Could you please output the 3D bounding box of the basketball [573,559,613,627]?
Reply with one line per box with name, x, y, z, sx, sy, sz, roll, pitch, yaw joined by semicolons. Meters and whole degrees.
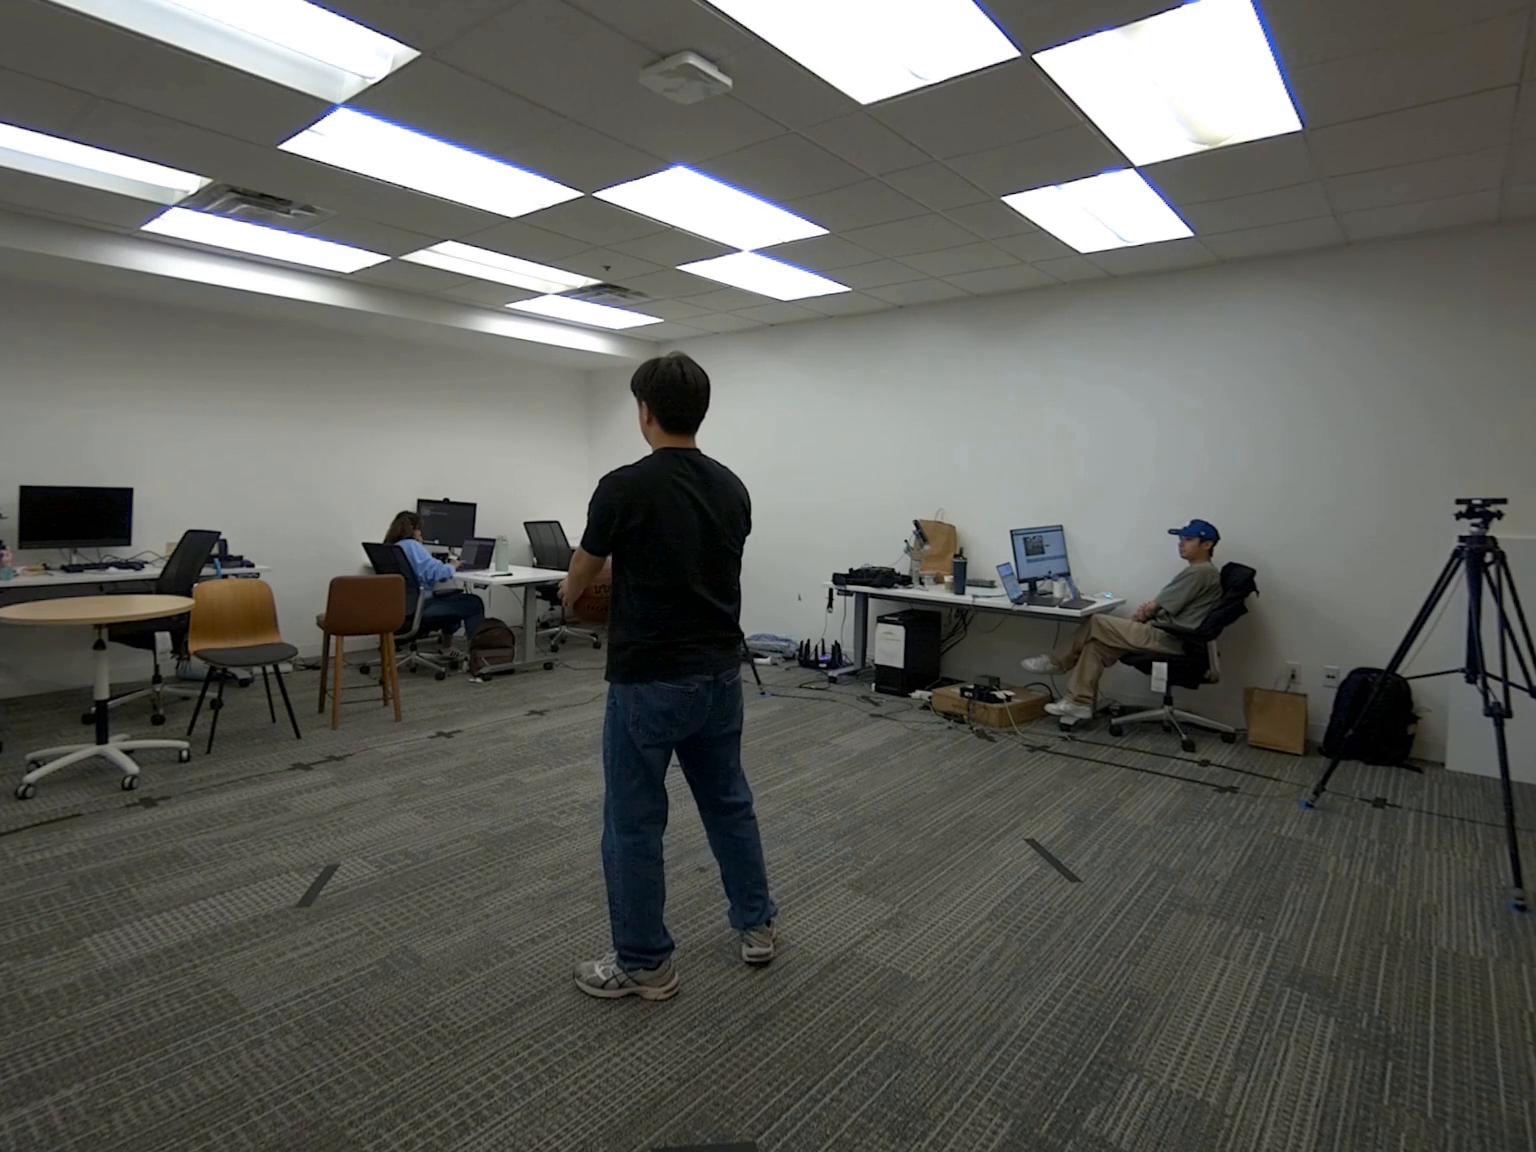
basketball;-0.568;0.044;2.849;0.236;0.235;0.237;1;4;-2
